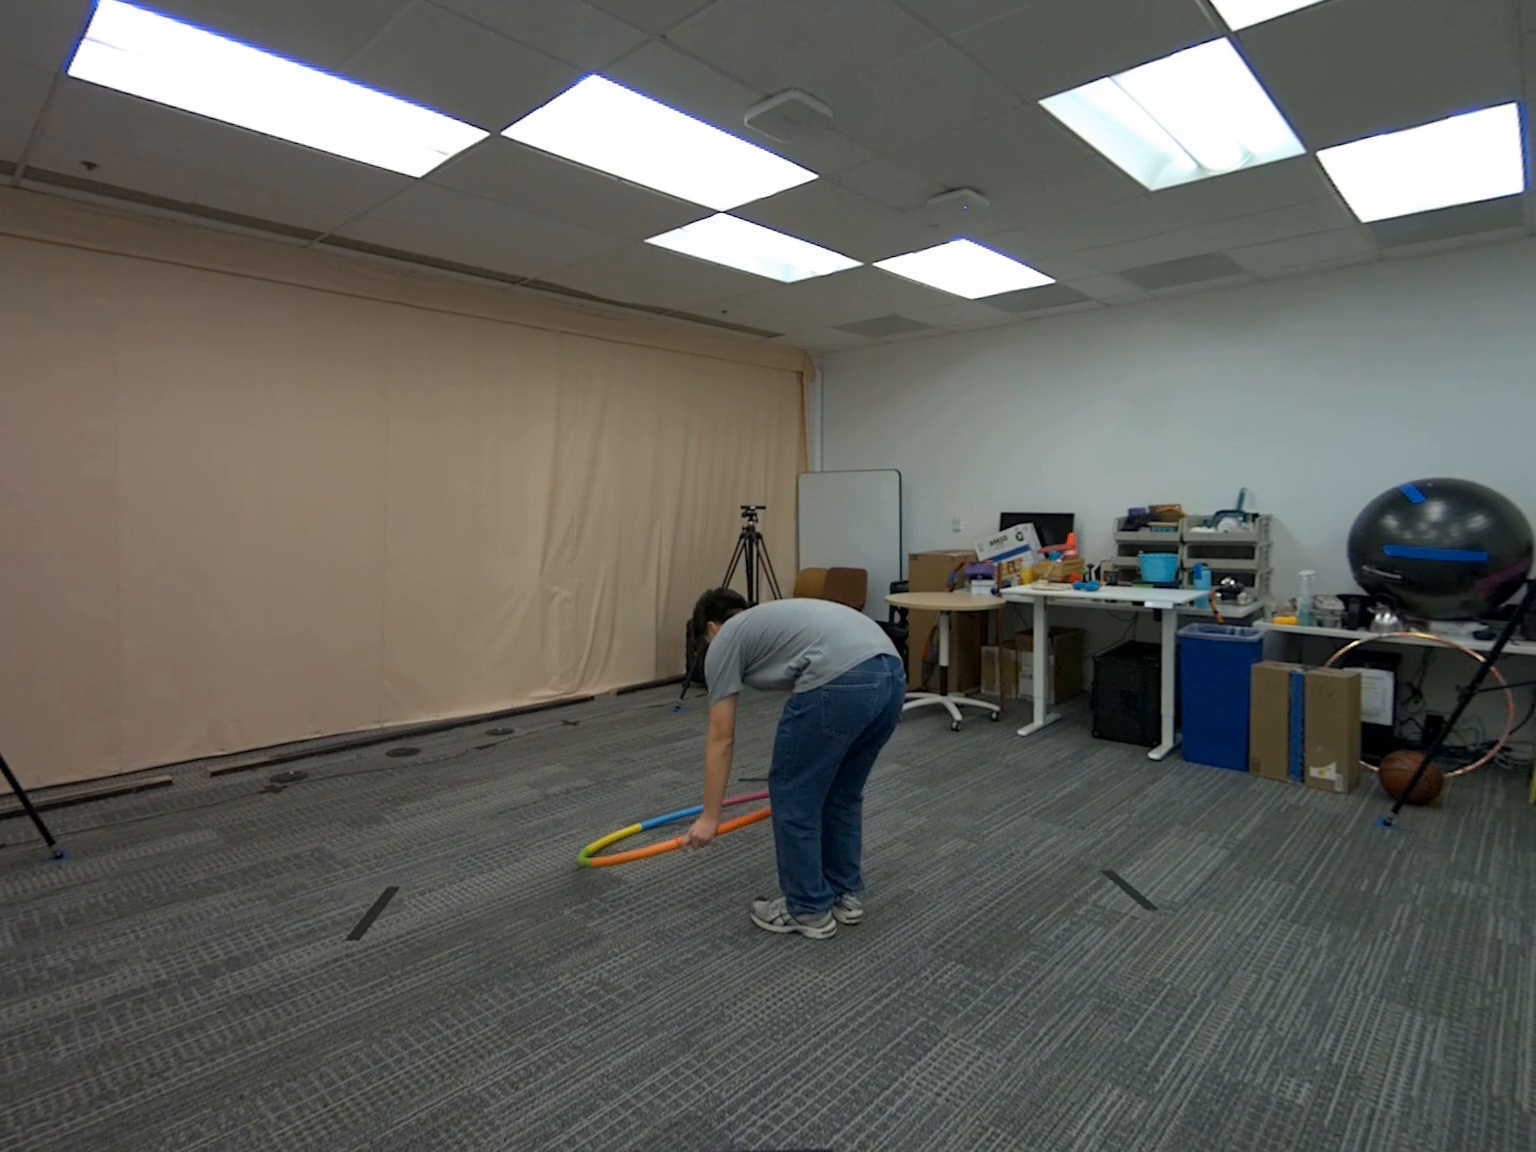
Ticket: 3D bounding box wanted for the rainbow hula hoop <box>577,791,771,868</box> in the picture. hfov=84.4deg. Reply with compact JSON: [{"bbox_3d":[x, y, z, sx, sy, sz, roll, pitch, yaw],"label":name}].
[{"bbox_3d":[-0.260,0.938,3.258,0.975,0.036,0.973,-14,-9,-5],"label":"rainbow hula hoop"}]
